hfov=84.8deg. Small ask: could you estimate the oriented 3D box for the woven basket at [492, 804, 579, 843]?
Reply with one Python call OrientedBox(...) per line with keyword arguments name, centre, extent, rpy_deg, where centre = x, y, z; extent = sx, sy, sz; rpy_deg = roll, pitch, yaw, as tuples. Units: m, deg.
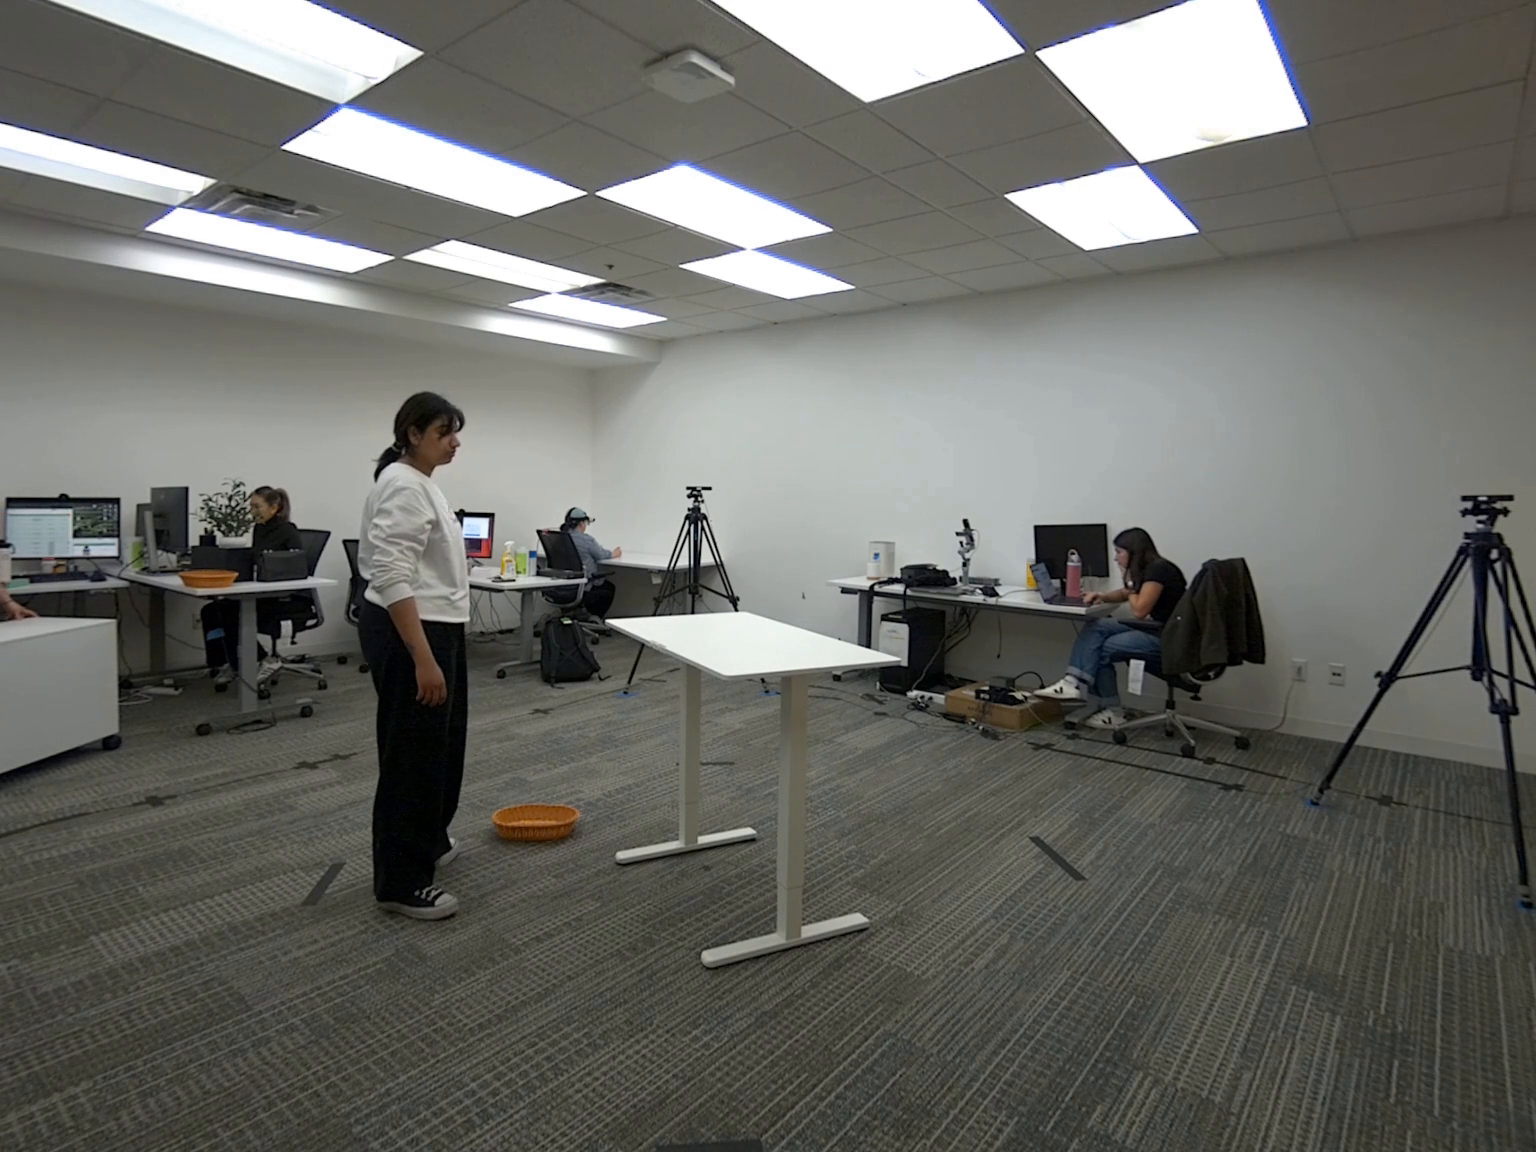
OrientedBox(name="woven basket", centre=(-0.935, 0.983, 3.412), extent=(0.351, 0.073, 0.252), rpy_deg=(1, 3, 1))
